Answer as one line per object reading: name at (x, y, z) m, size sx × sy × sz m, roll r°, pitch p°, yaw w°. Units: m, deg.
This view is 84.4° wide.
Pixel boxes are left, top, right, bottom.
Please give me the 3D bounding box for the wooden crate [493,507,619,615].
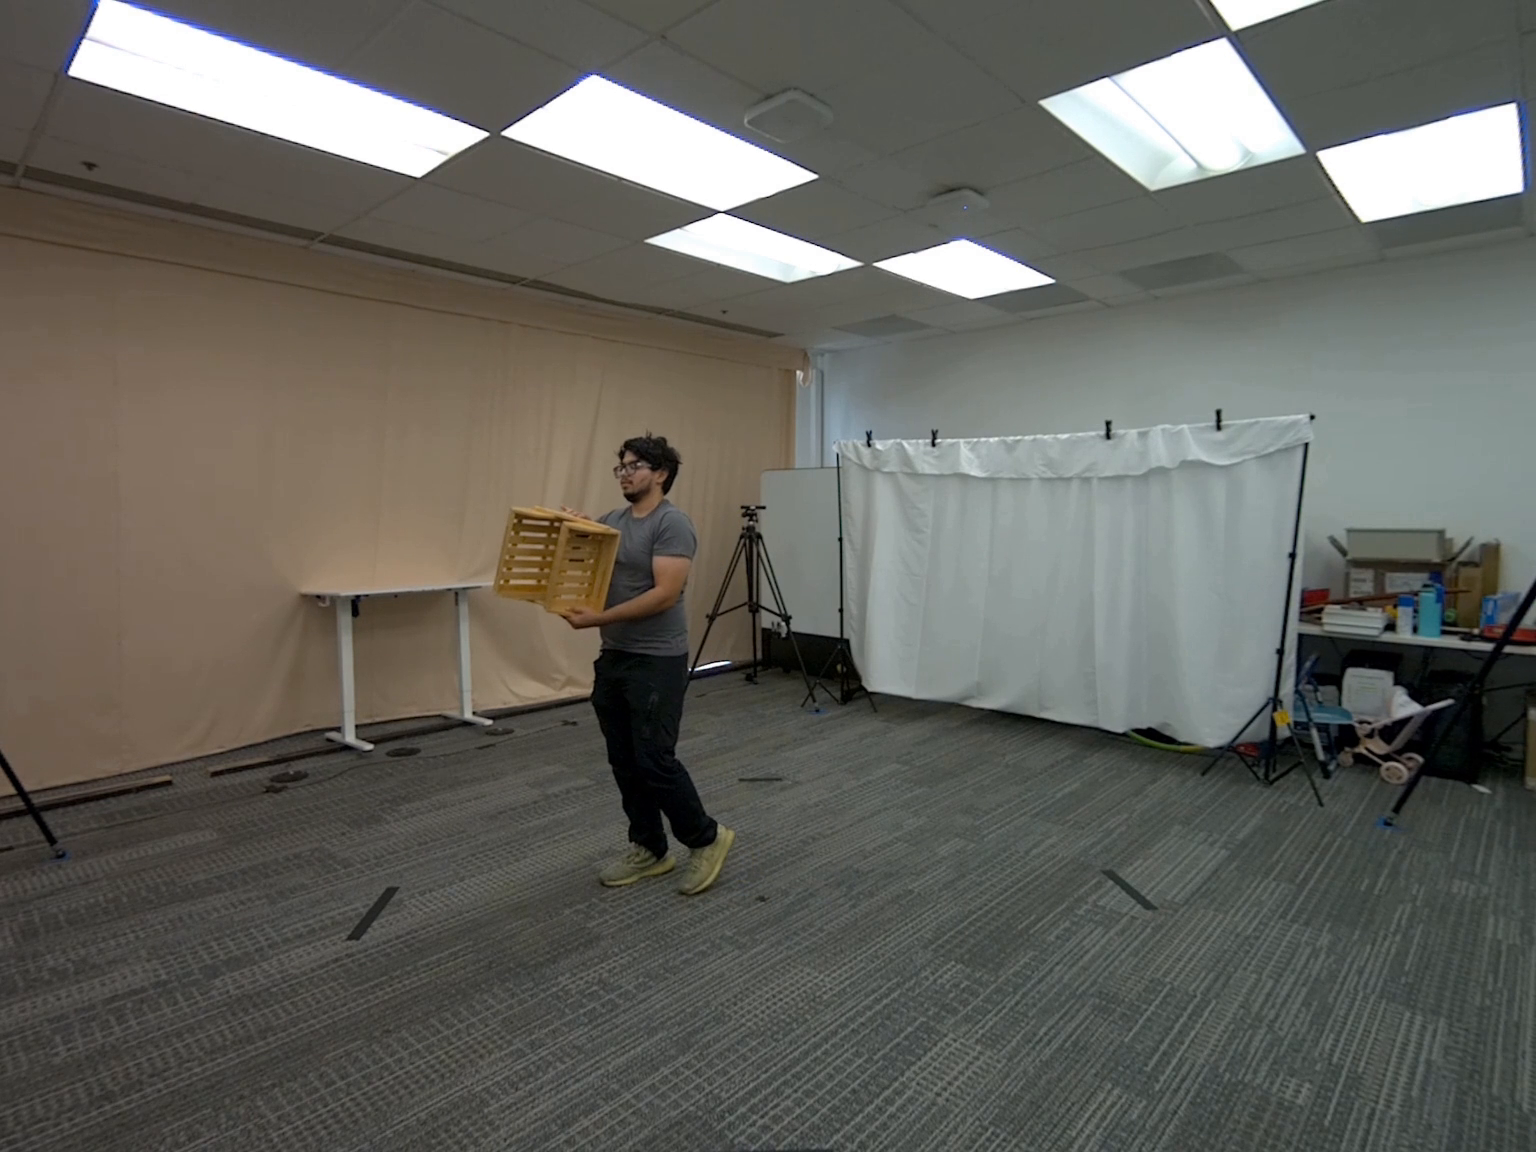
wooden crate at (-0.708, -0.048, 2.862) m, size 0.283 × 0.323 × 0.292 m, roll 21°, pitch 11°, yaw 36°
